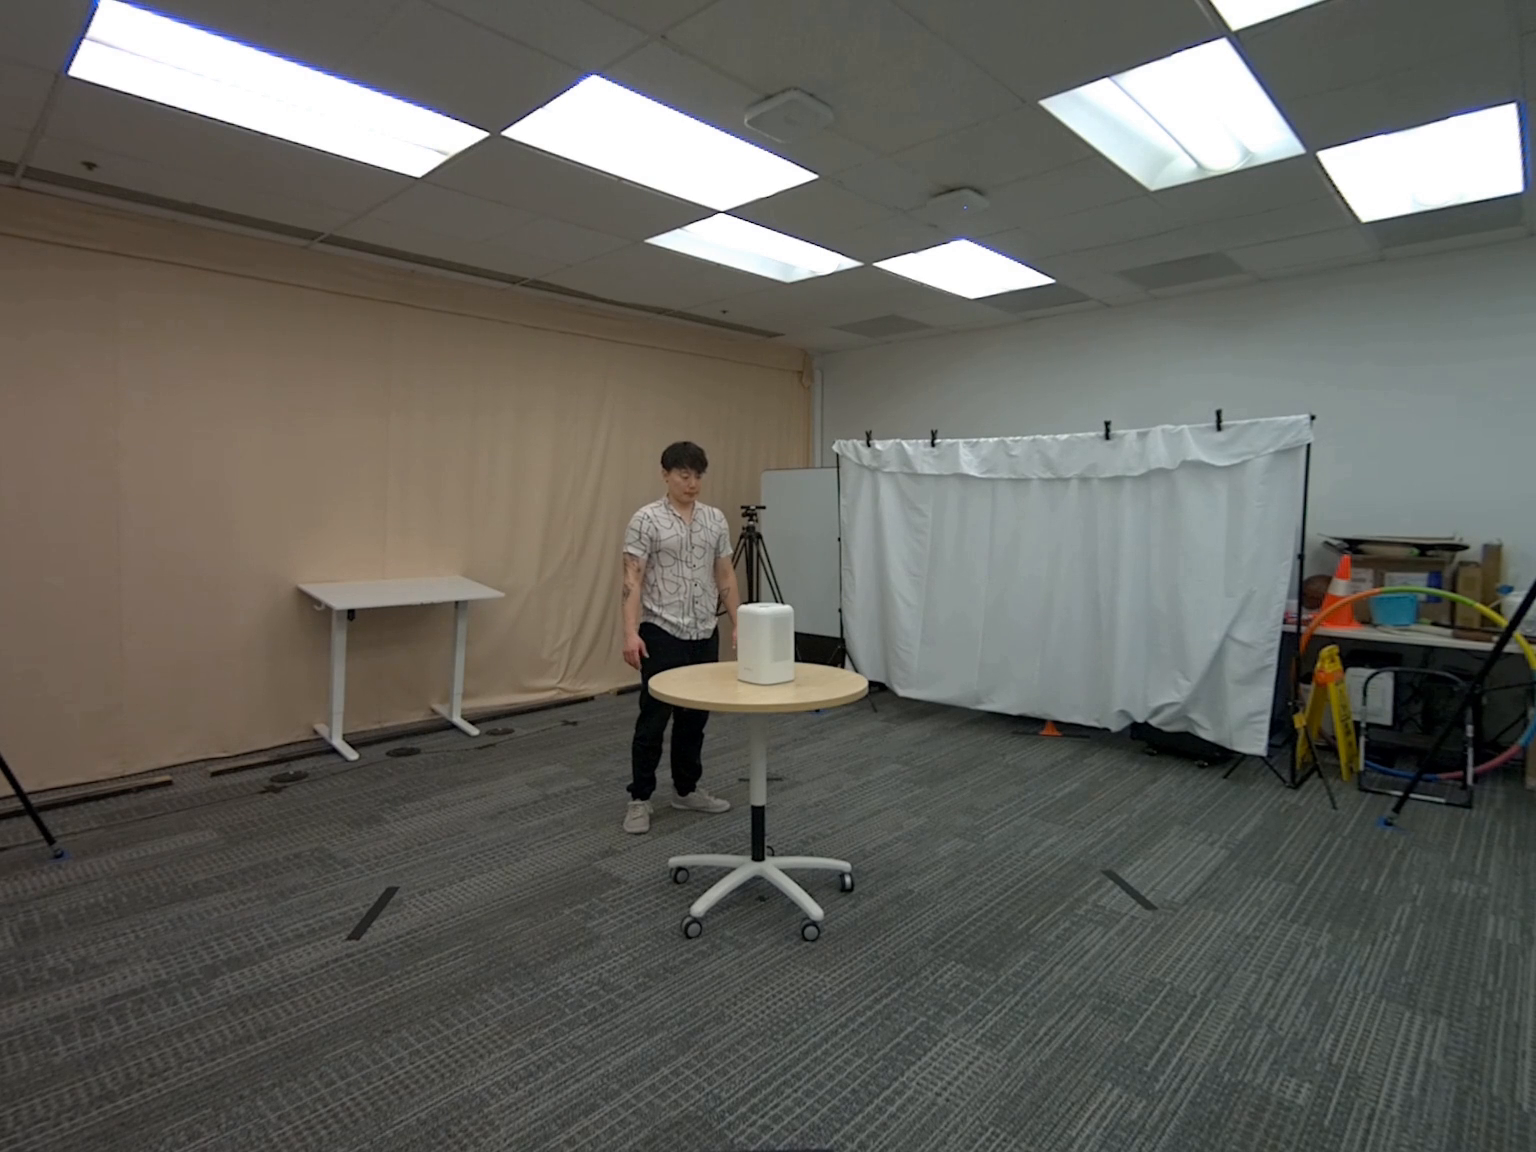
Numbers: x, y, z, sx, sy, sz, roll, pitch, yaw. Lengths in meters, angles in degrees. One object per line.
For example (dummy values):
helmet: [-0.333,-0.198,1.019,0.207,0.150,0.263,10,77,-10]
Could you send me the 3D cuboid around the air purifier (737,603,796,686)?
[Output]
air purifier: [-0.001,0.231,2.948,0.166,0.265,0.177,-3,4,-39]
